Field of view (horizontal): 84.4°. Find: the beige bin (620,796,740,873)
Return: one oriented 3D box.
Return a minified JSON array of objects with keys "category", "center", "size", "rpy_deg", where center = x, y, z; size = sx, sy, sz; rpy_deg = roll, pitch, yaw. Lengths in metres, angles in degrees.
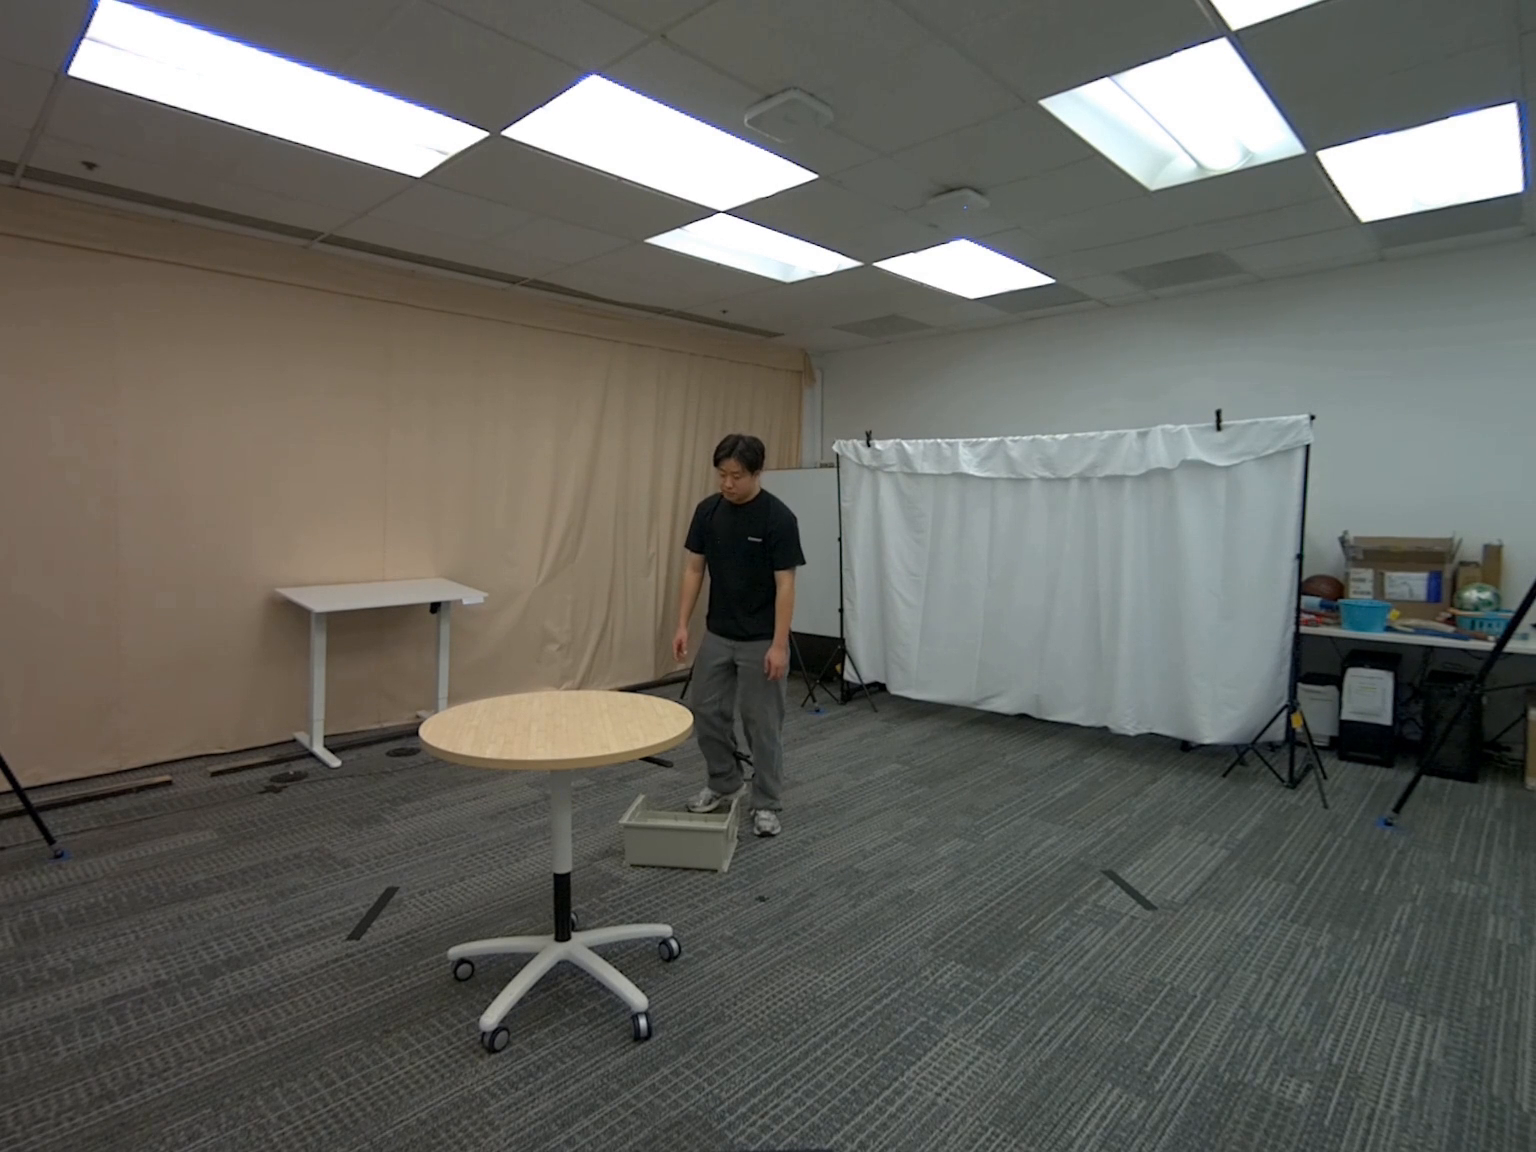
[{"category":"beige bin","center":[-0.346,1.022,3.397],"size":[0.426,0.188,0.375],"rpy_deg":[1,6,8]}]
